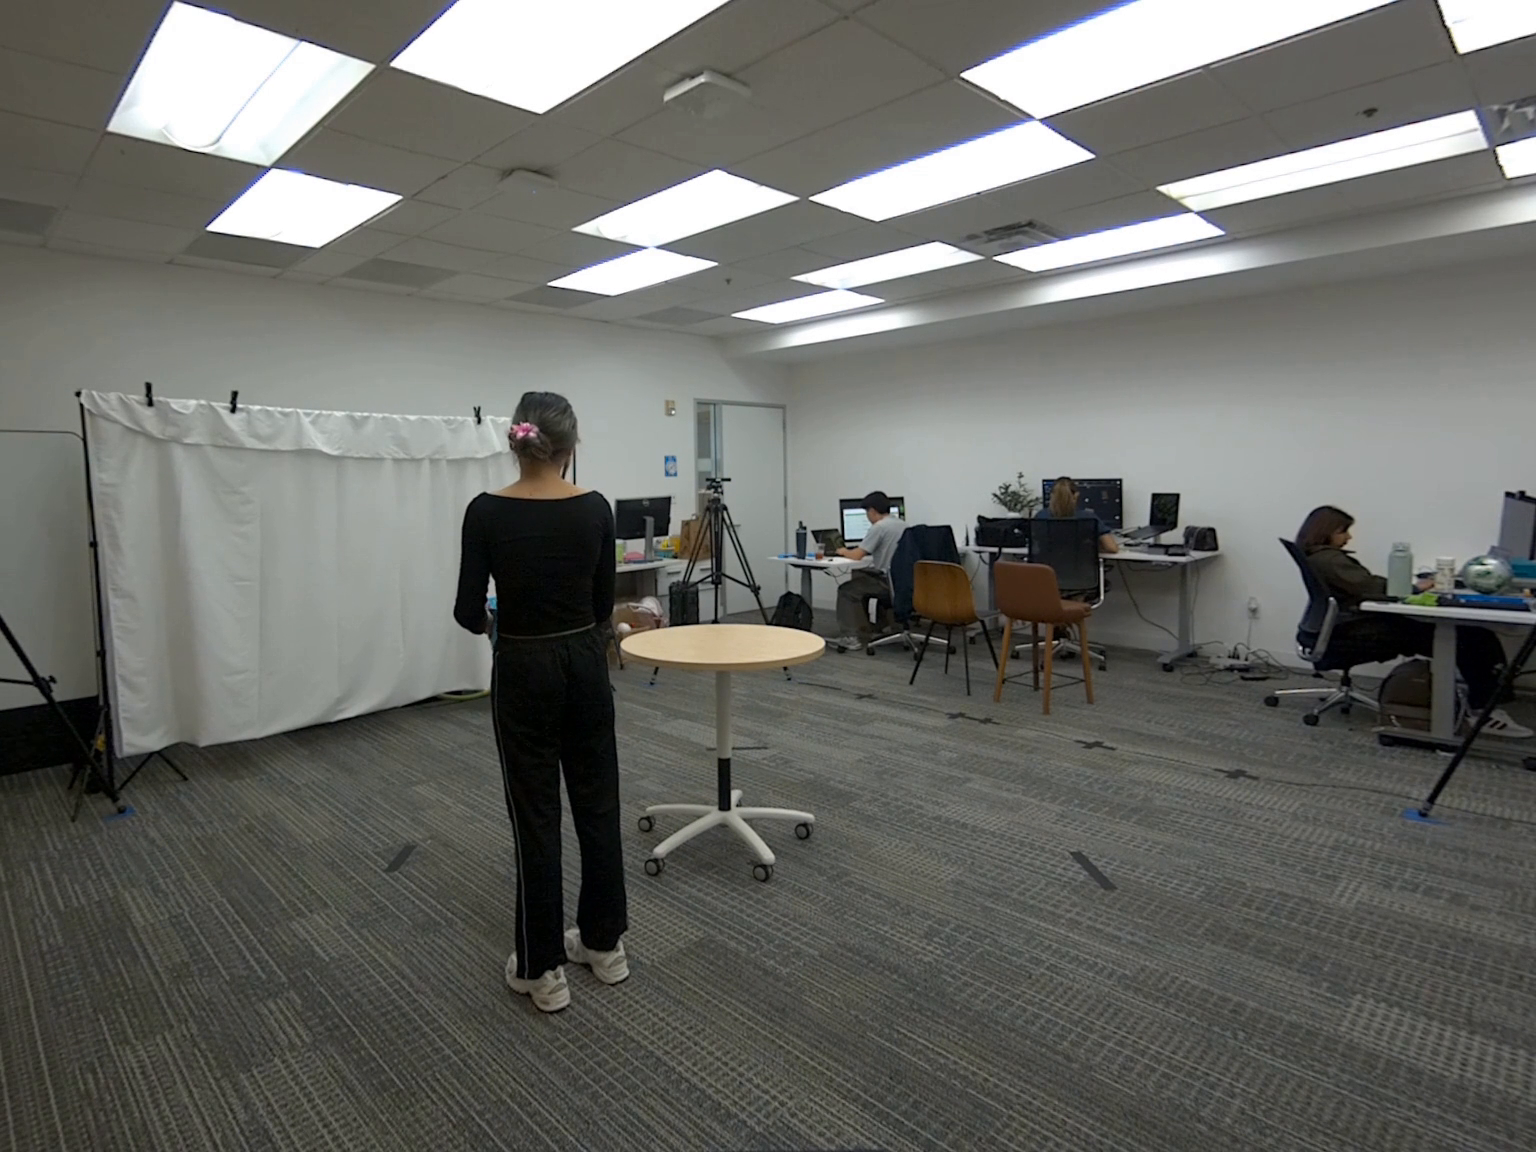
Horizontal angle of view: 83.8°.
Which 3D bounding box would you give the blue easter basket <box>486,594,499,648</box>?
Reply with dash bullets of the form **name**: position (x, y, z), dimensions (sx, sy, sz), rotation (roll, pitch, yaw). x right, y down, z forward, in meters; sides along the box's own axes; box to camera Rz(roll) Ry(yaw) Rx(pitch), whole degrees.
- **blue easter basket**: position (-0.770, 0.151, 2.654), dimensions (0.243, 0.154, 0.246), rotation (-3, 9, -1)
